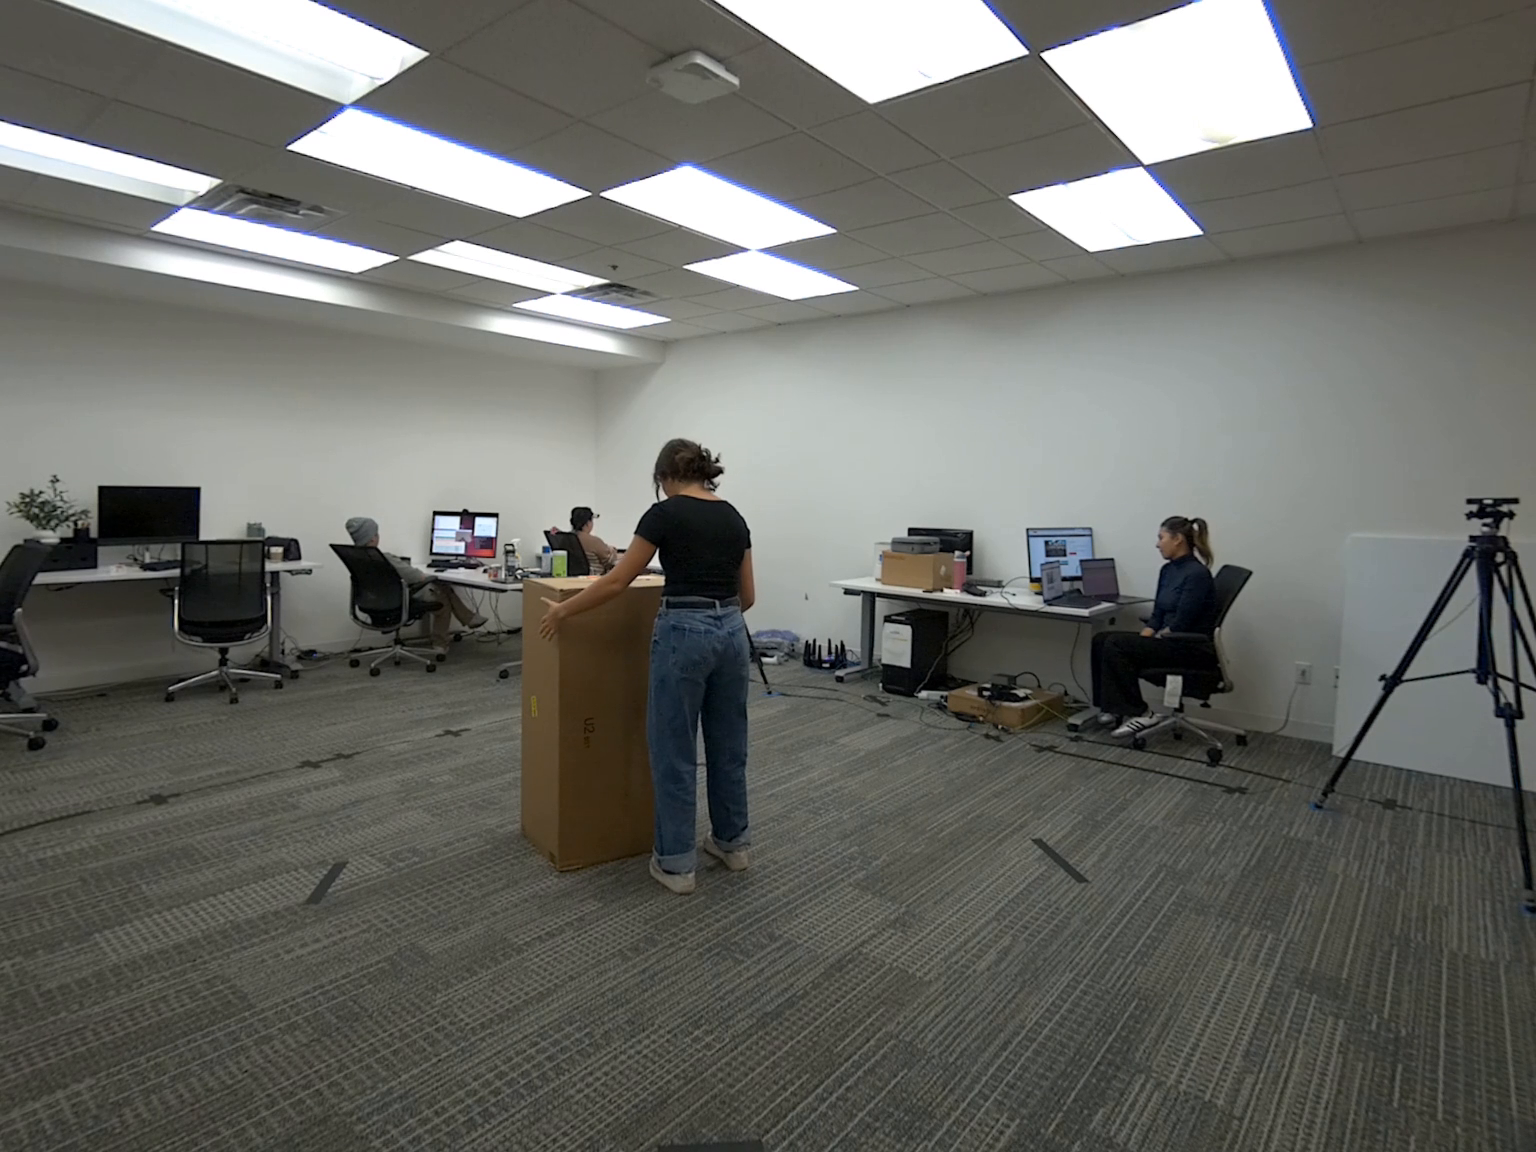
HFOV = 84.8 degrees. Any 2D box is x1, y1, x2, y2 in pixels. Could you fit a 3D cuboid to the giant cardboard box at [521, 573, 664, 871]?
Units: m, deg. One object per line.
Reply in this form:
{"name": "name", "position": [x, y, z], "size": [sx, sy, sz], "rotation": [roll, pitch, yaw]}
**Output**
{"name": "giant cardboard box", "position": [-0.644, 0.528, 3.357], "size": [0.561, 1.023, 0.440], "rotation": [-1, 4, -33]}
